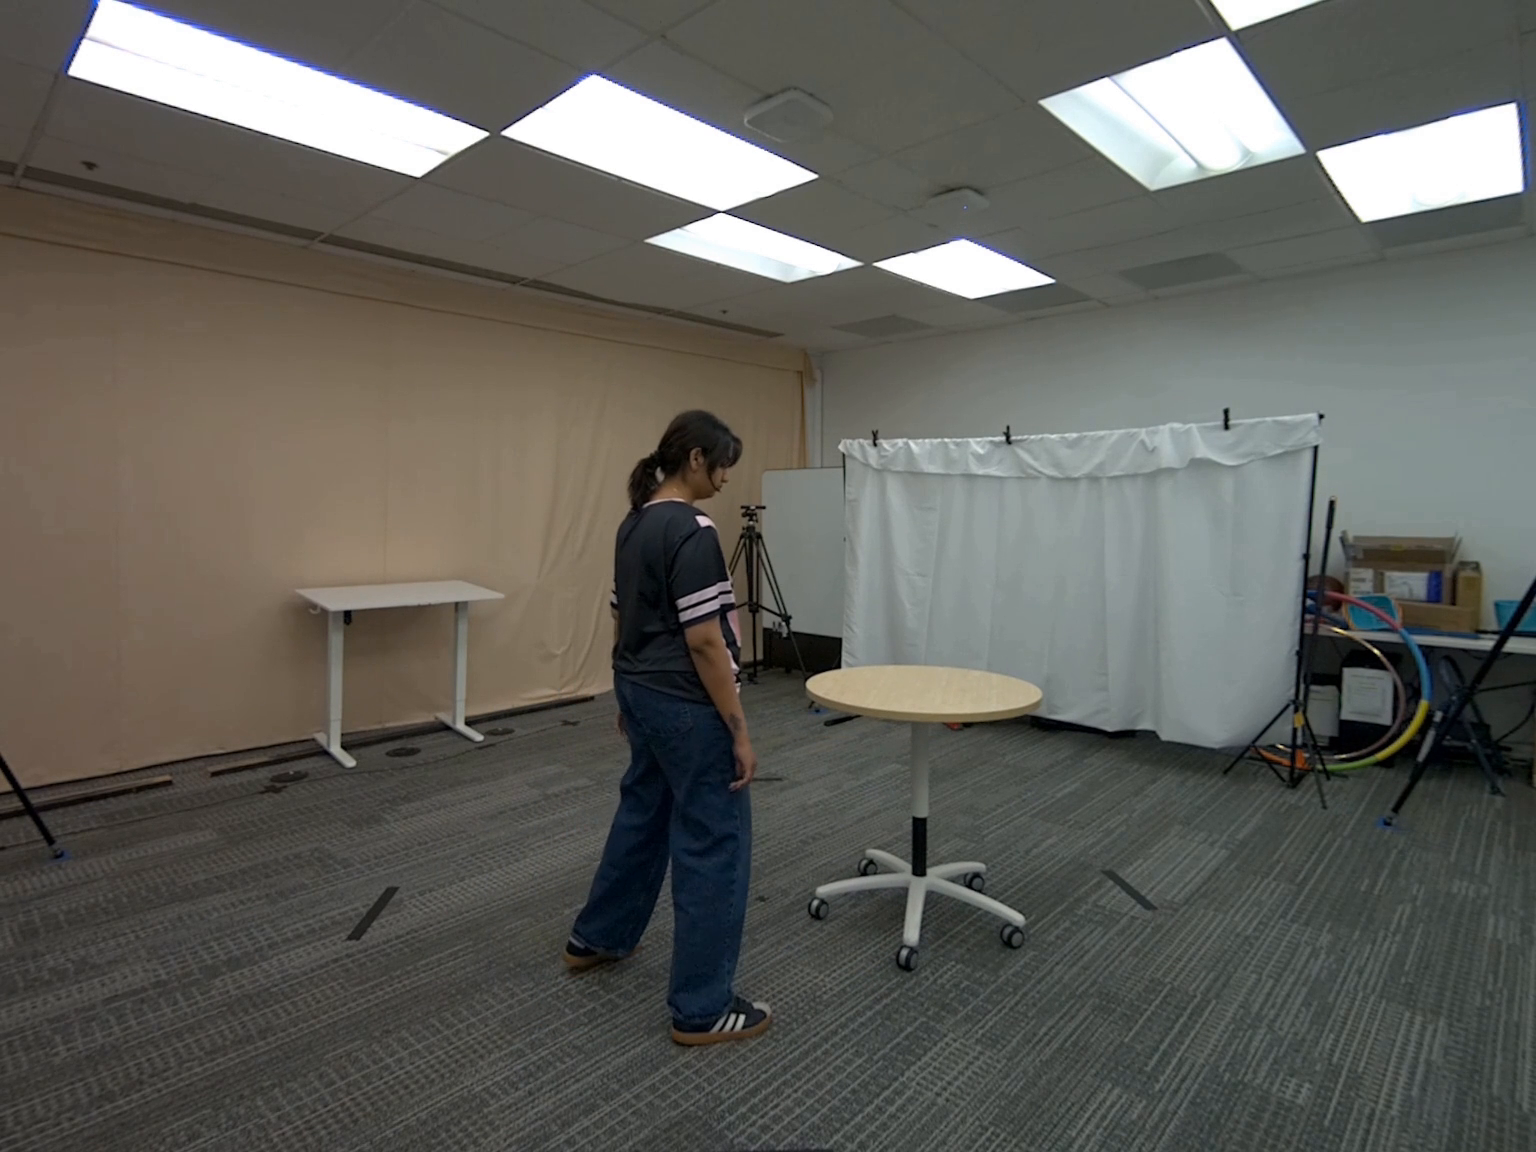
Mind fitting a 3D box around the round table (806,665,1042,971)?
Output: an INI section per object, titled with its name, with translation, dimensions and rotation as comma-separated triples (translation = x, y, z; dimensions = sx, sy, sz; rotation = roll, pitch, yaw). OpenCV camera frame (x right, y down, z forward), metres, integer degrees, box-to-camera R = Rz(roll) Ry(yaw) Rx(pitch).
[round table]
translation = 0.514, 0.765, 2.839
dimensions = 0.763, 0.792, 0.766
rotation = 0, 3, -2
